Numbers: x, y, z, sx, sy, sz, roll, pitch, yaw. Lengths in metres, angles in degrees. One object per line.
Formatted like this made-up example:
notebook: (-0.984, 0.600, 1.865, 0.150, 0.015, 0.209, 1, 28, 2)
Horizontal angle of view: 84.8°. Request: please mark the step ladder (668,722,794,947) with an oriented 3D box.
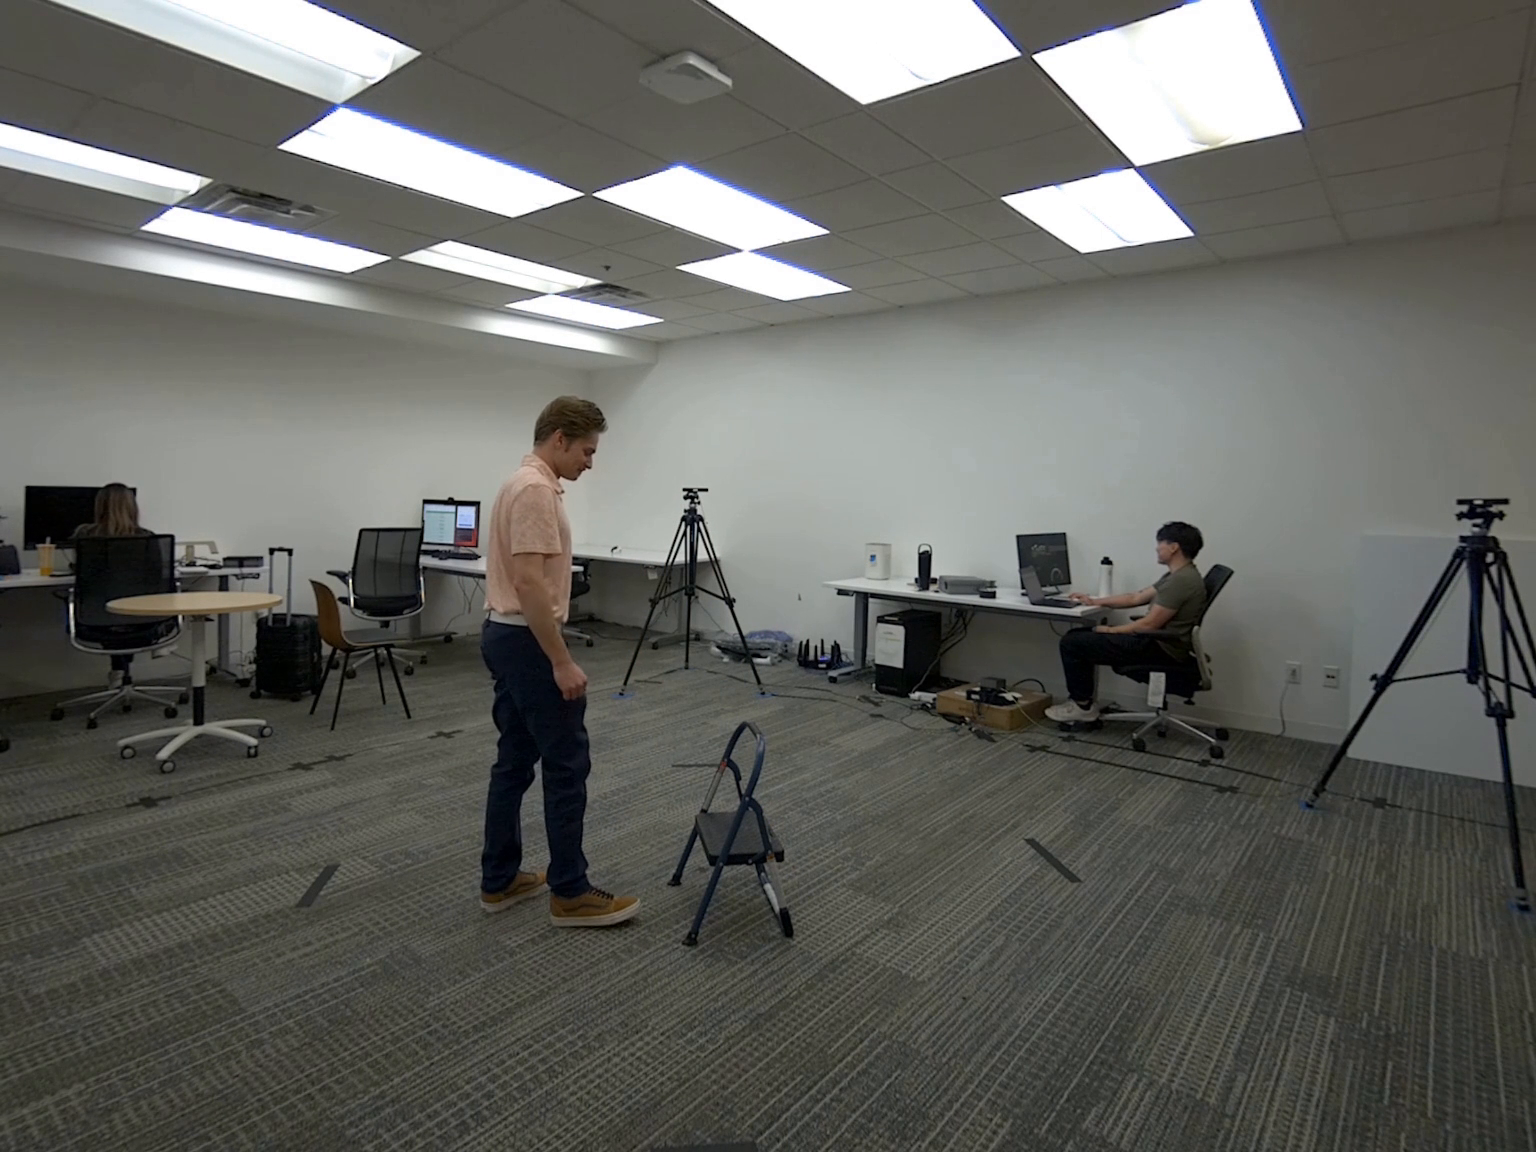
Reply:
step ladder: (-0.131, 0.802, 2.797, 0.345, 0.604, 0.438, 1, 4, -13)
